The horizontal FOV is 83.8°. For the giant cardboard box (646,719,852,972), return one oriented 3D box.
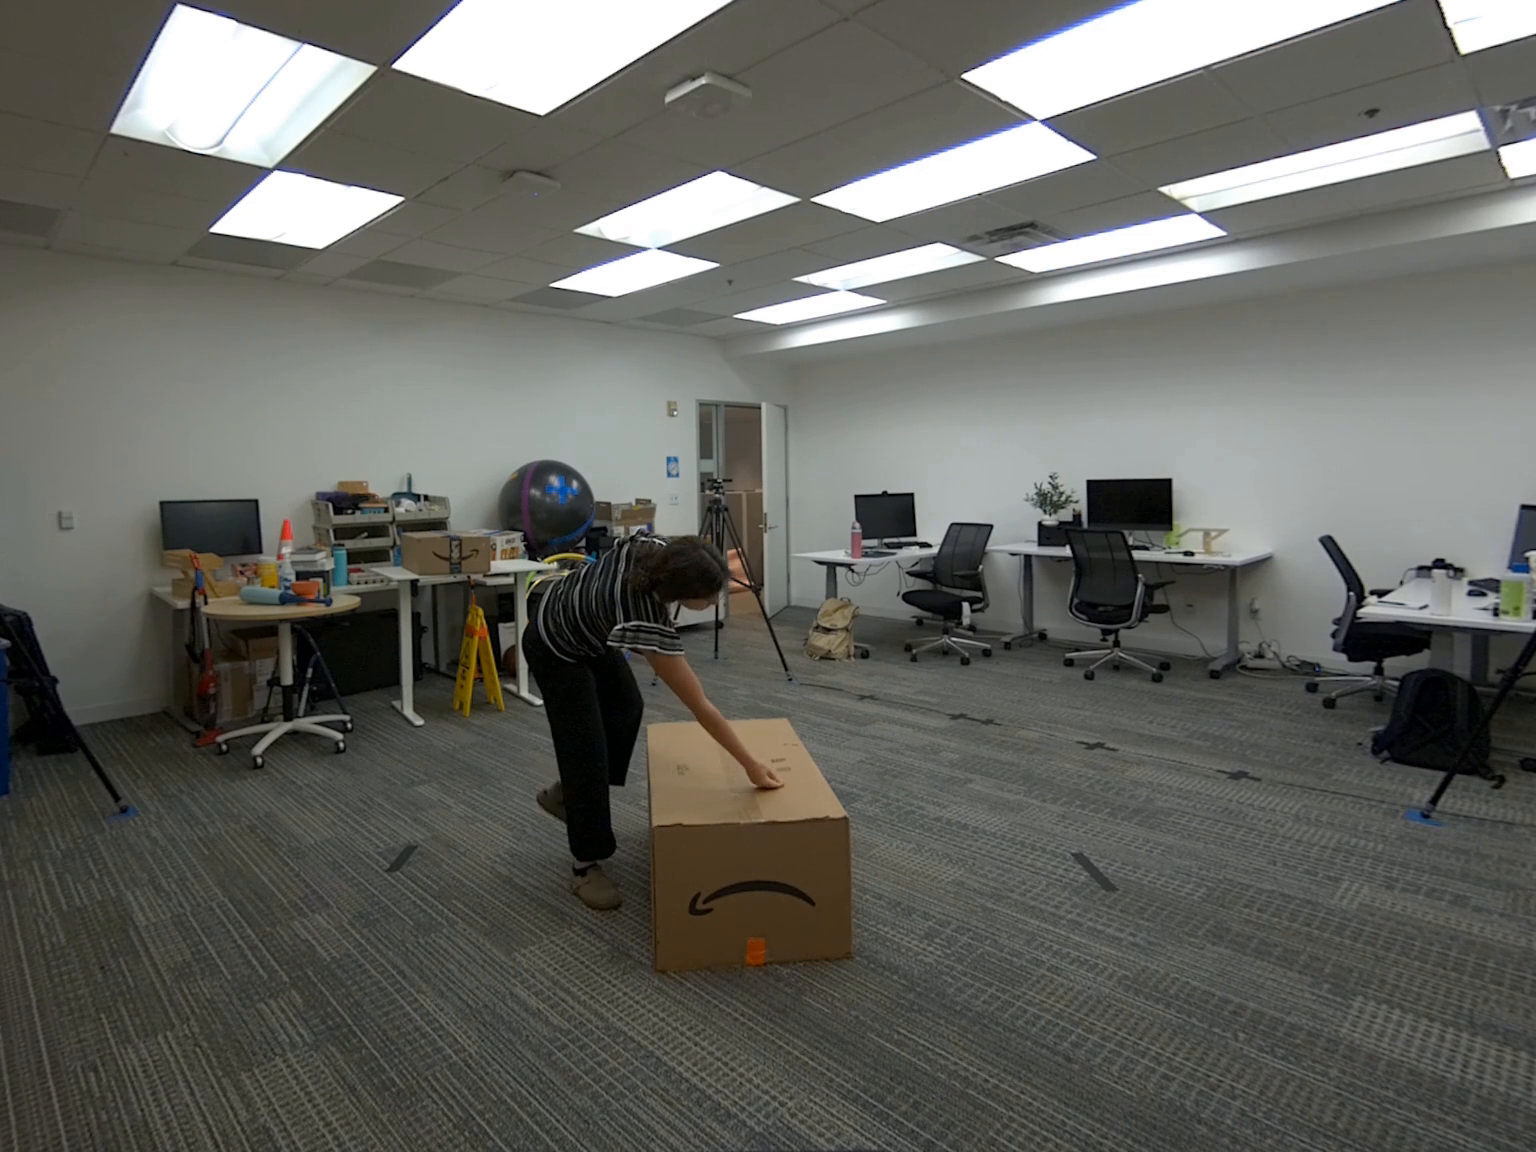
[{"bbox_3d":[-0.121,0.854,2.947,0.573,0.424,1.038,-2,6,-8],"label":"giant cardboard box"}]
